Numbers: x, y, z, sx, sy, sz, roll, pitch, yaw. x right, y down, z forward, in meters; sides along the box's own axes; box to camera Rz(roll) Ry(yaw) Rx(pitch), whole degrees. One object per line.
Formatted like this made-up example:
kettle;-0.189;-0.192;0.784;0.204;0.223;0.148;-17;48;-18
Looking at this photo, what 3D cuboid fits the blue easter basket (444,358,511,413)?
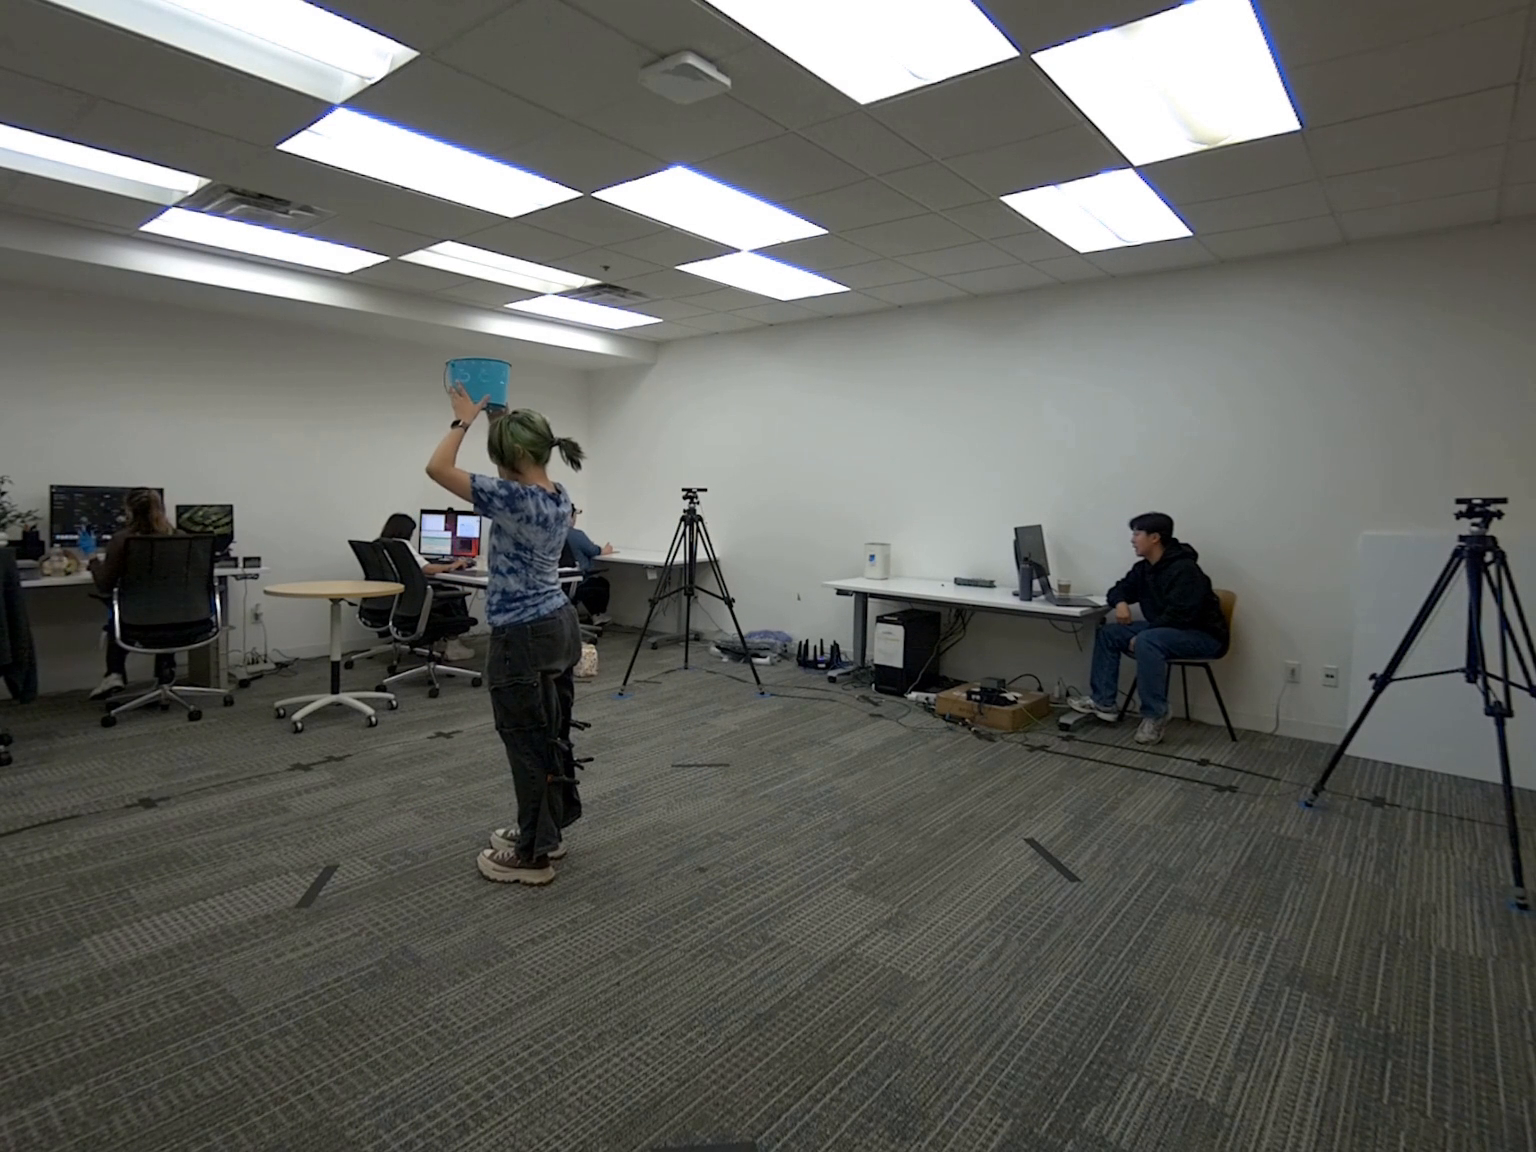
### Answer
blue easter basket;-1.065;-0.682;3.074;0.243;0.156;0.244;-2;0;-2
